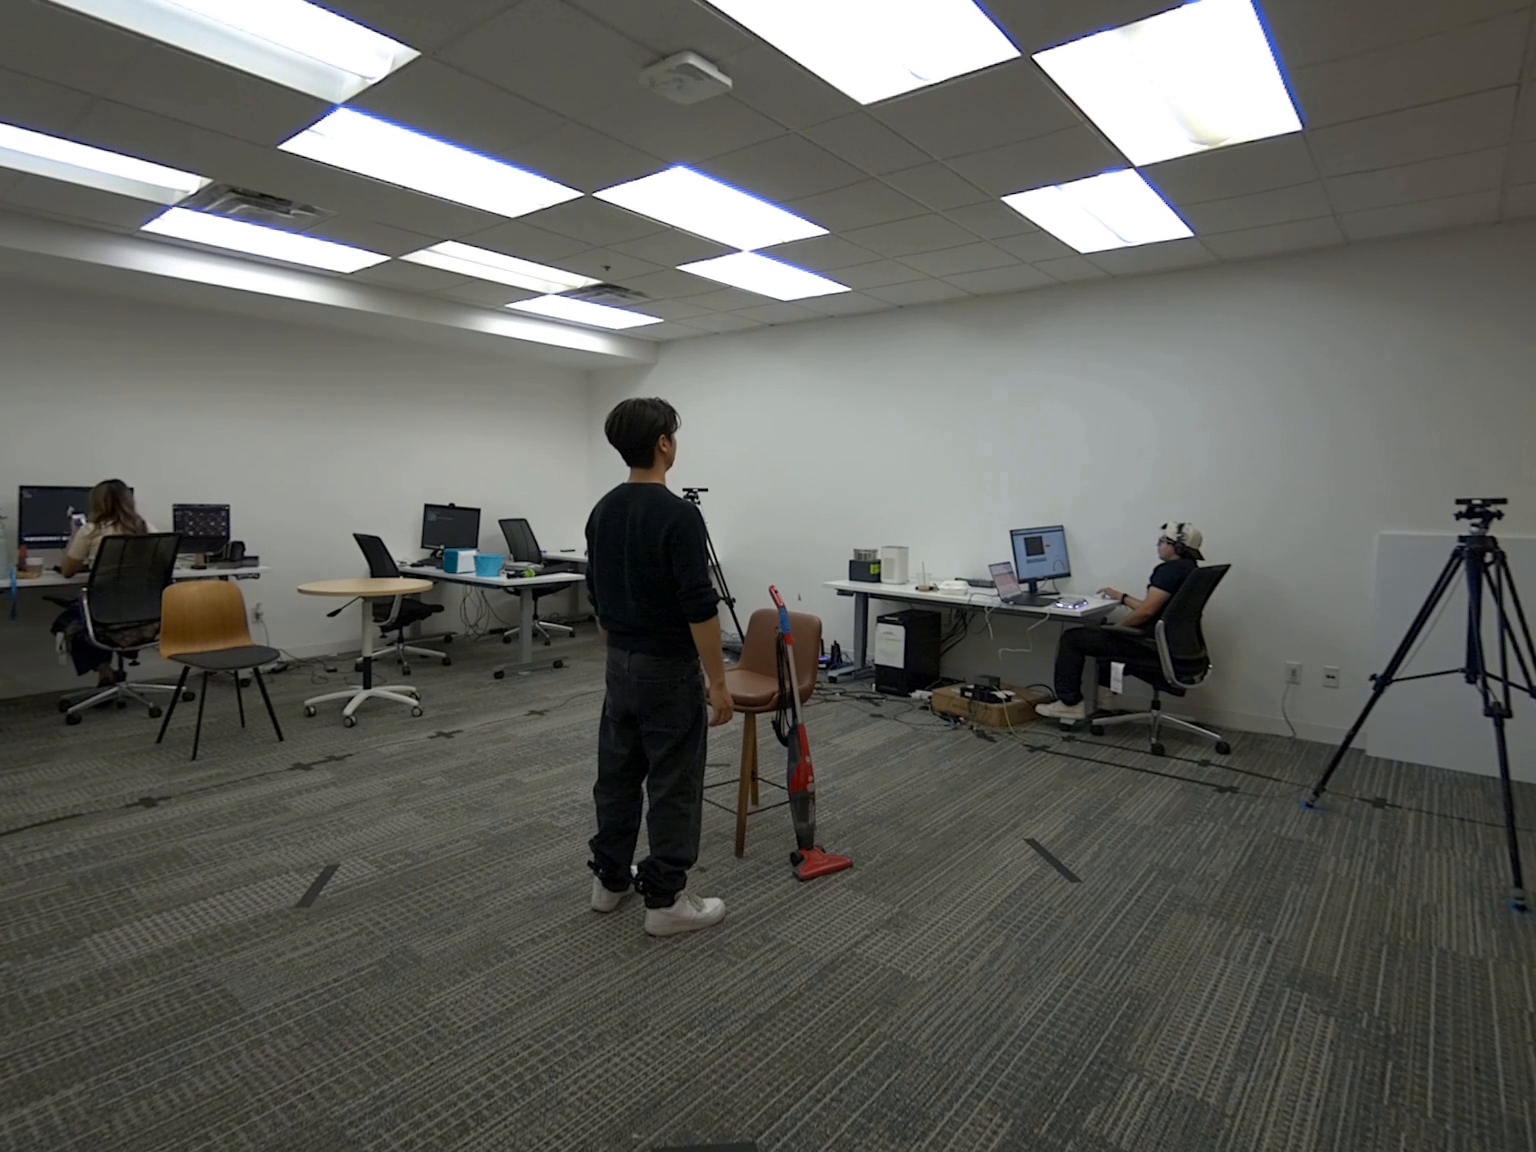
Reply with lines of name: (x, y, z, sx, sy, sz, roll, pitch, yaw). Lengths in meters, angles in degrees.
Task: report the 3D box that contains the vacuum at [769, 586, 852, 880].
vacuum: (0.092, 0.560, 3.259, 0.245, 1.063, 0.146, 0, -14, -37)
